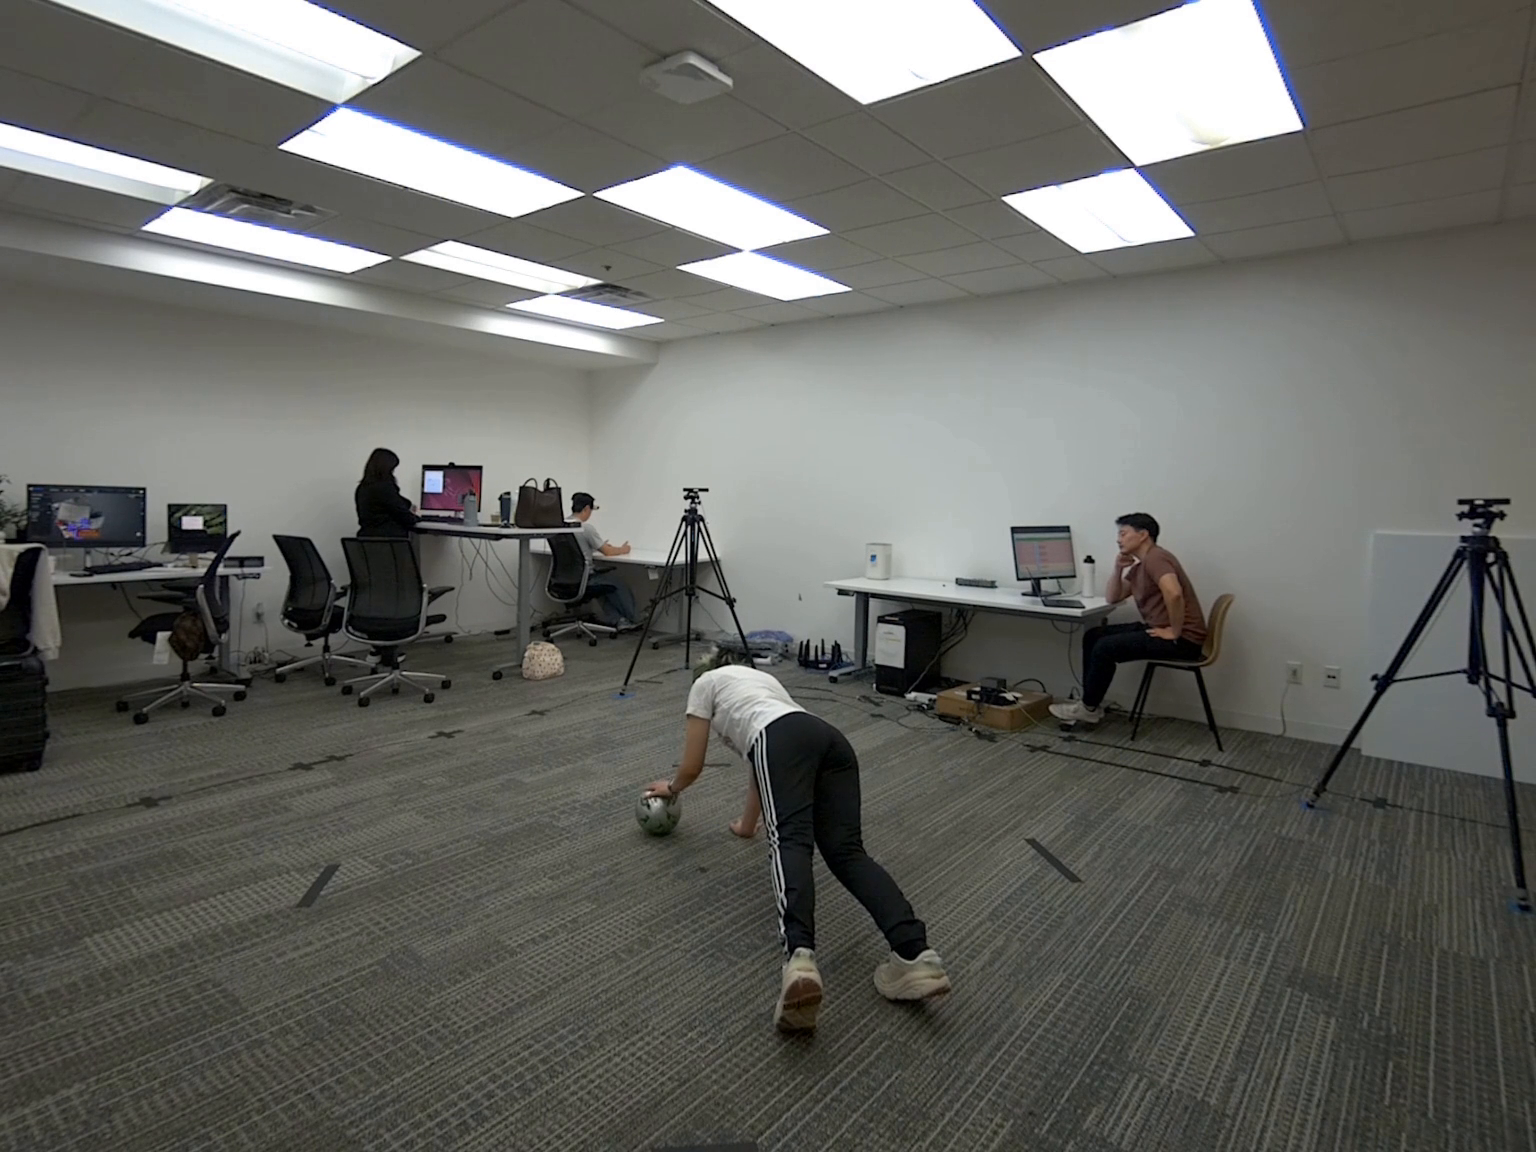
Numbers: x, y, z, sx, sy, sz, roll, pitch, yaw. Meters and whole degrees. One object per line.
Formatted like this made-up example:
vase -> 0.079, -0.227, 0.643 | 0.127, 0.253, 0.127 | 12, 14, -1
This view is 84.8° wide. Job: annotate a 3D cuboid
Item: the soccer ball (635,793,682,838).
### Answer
soccer ball -> -0.449, 0.941, 3.432 | 0.187, 0.187, 0.188 | 1, 4, -2
